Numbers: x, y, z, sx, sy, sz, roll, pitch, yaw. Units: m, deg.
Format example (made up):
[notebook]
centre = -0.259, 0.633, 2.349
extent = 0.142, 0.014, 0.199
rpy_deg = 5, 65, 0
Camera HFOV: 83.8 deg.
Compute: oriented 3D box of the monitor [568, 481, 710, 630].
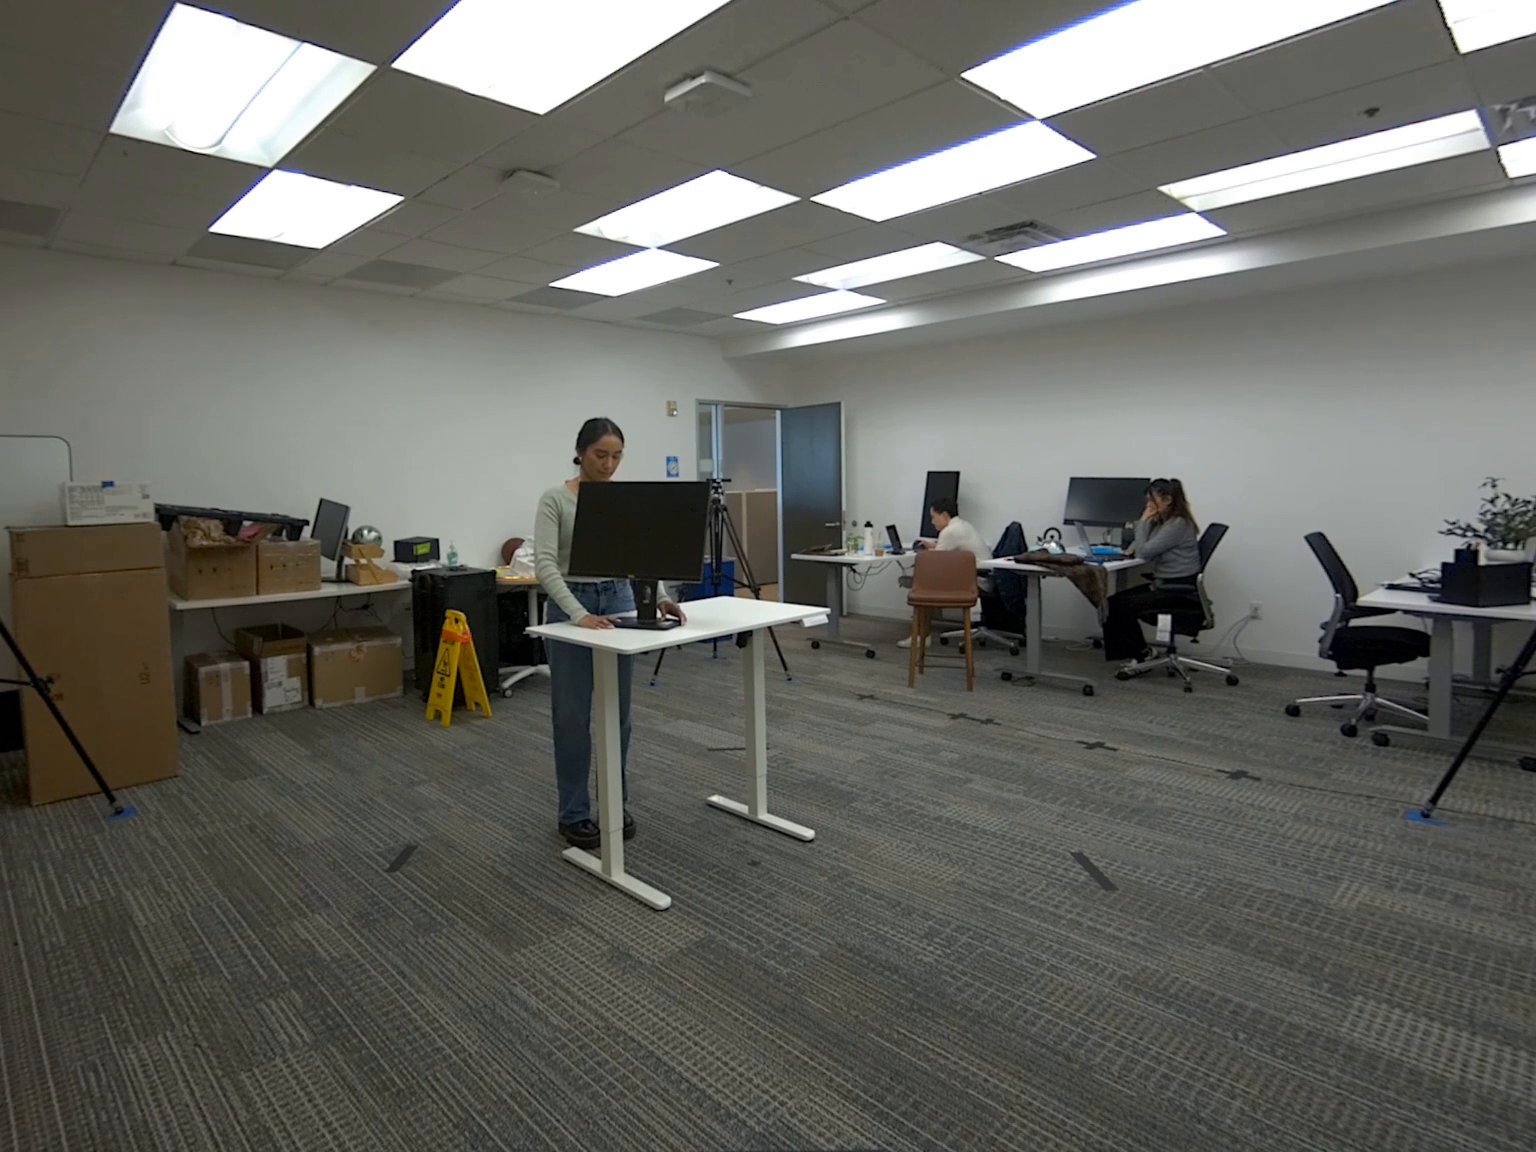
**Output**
[monitor]
centre = -0.454, -0.079, 3.053
extent = 0.541, 0.513, 0.172
rpy_deg = 2, 7, 21
